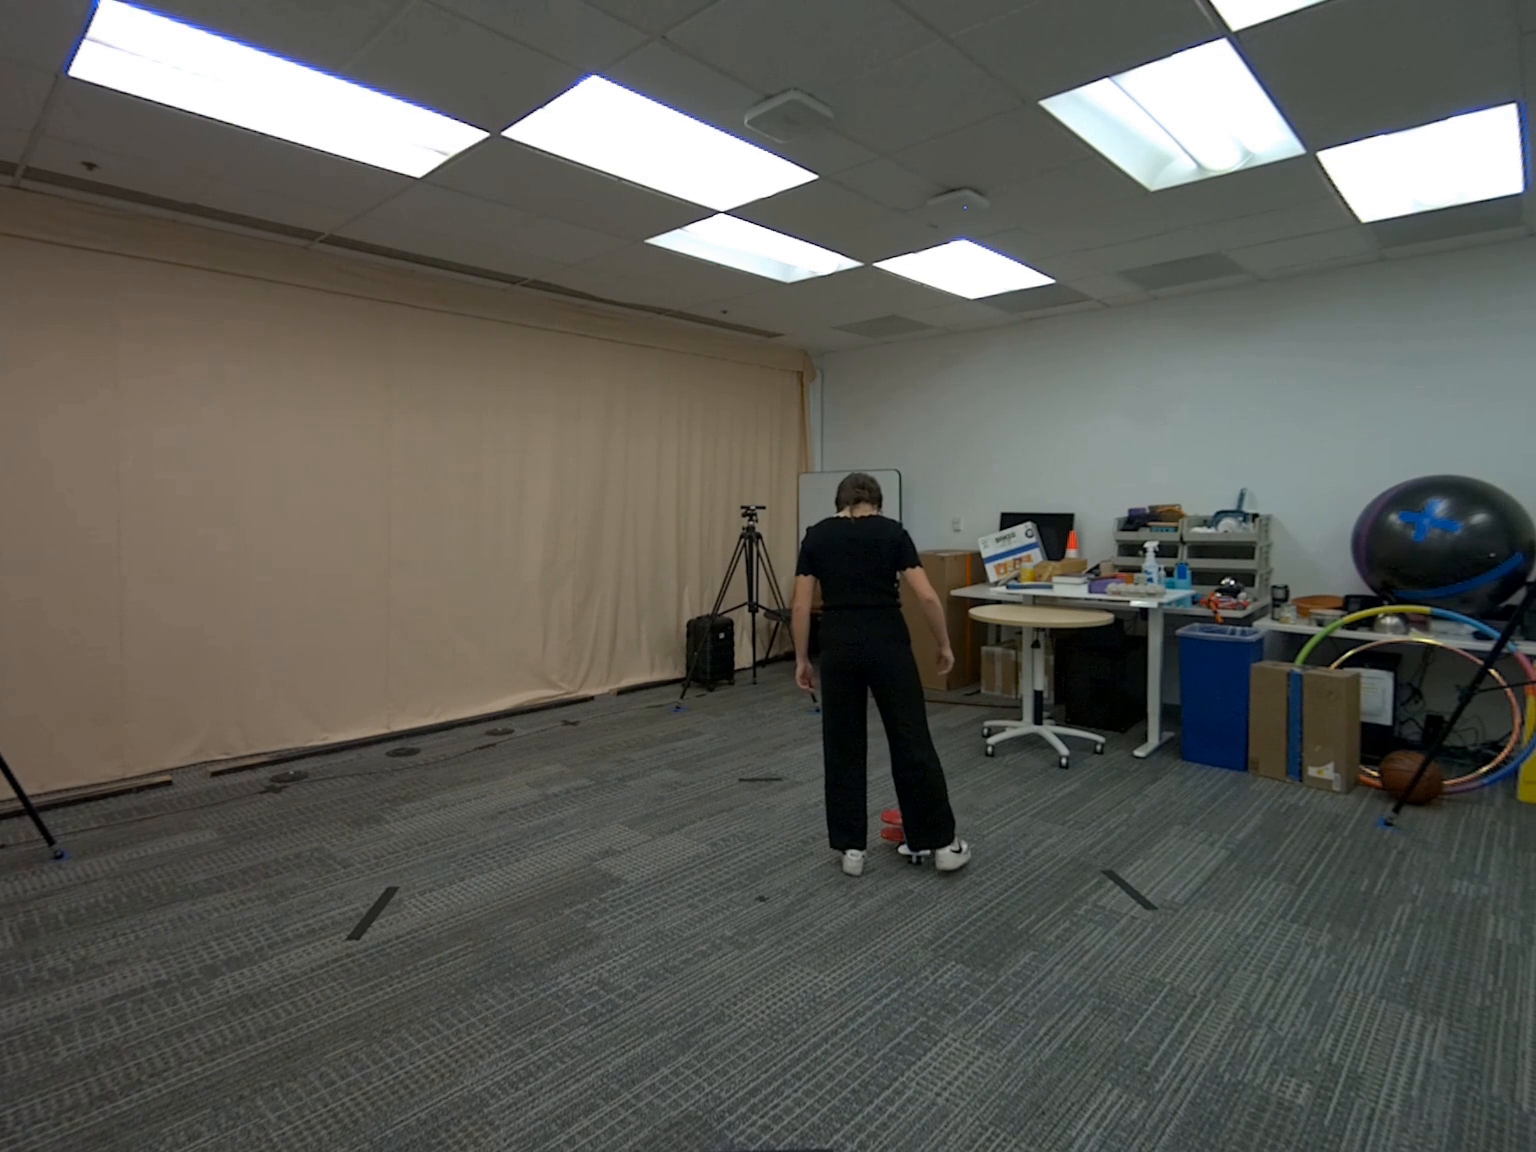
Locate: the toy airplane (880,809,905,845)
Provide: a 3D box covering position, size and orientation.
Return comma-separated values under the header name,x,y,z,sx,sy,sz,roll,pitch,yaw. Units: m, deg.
name,x,y,z,sx,sy,sz,roll,pitch,yaw
toy airplane,0.601,1.033,3.355,0.246,0.156,0.265,-2,4,-19
